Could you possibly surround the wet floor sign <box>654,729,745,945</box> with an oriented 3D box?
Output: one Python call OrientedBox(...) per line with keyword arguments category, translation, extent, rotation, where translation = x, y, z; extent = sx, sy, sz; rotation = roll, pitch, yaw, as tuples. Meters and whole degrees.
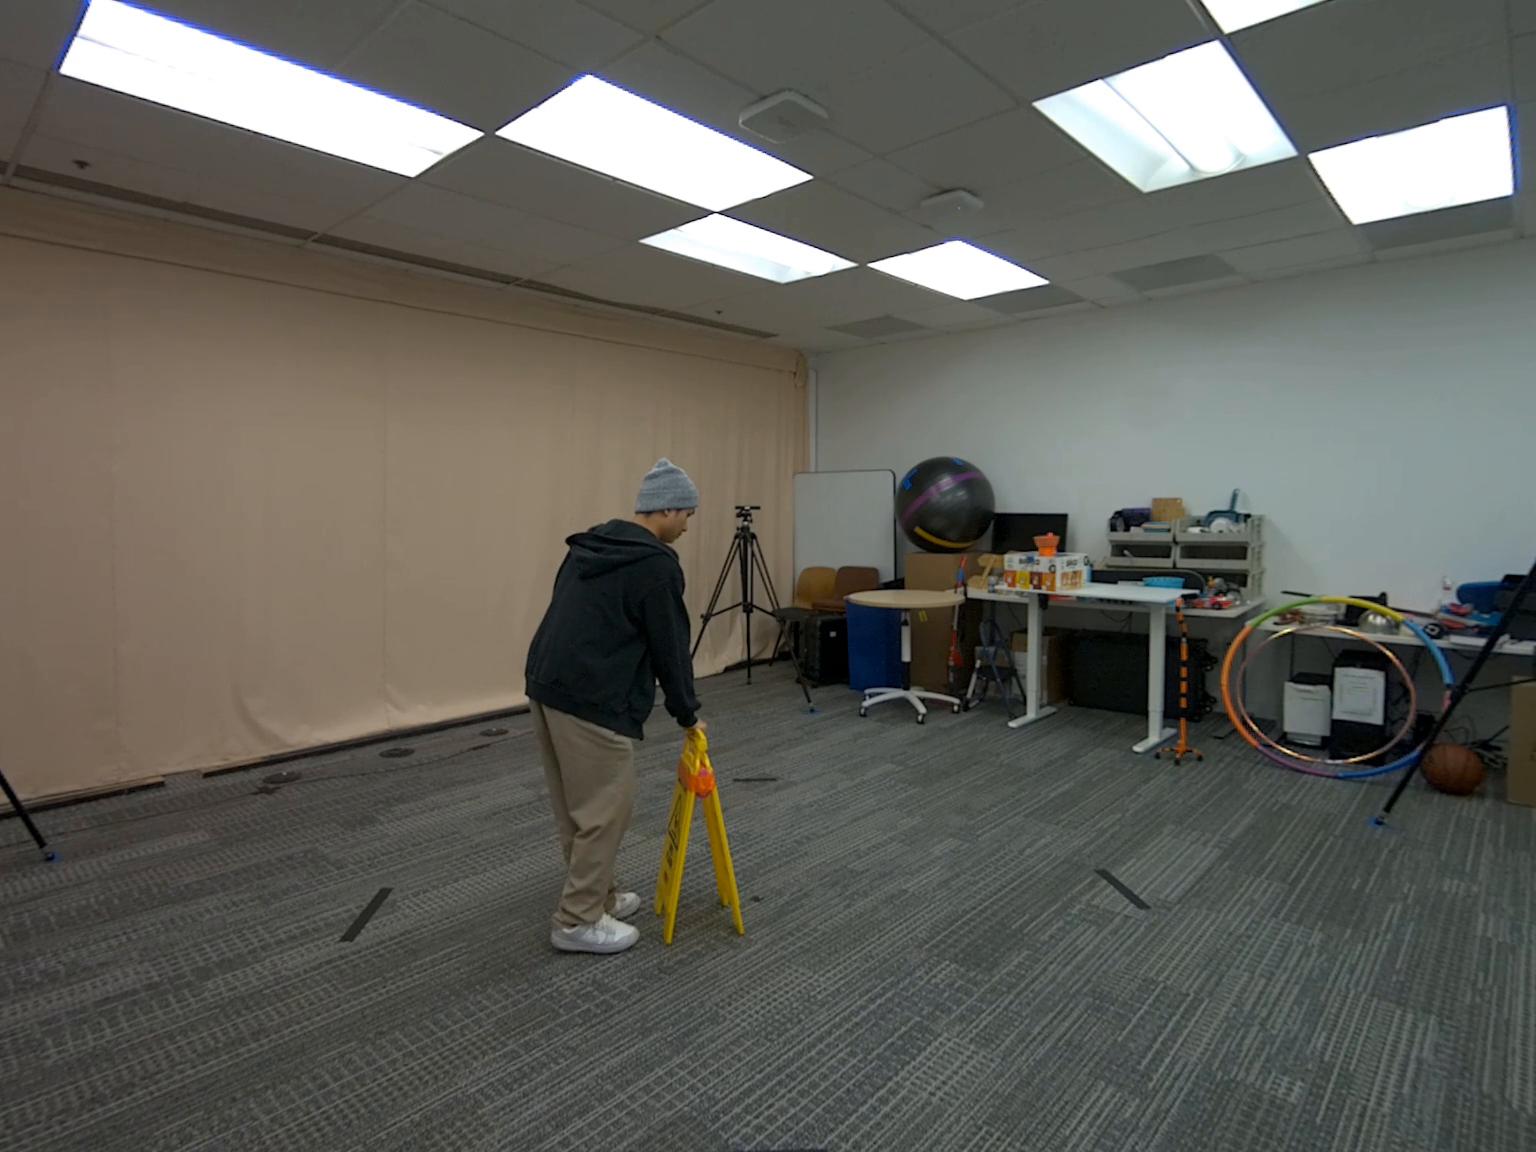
OrientedBox(category="wet floor sign", translation=(-0.241, 0.831, 2.807), extent=(0.285, 0.645, 0.287), rotation=(0, 1, -15))
